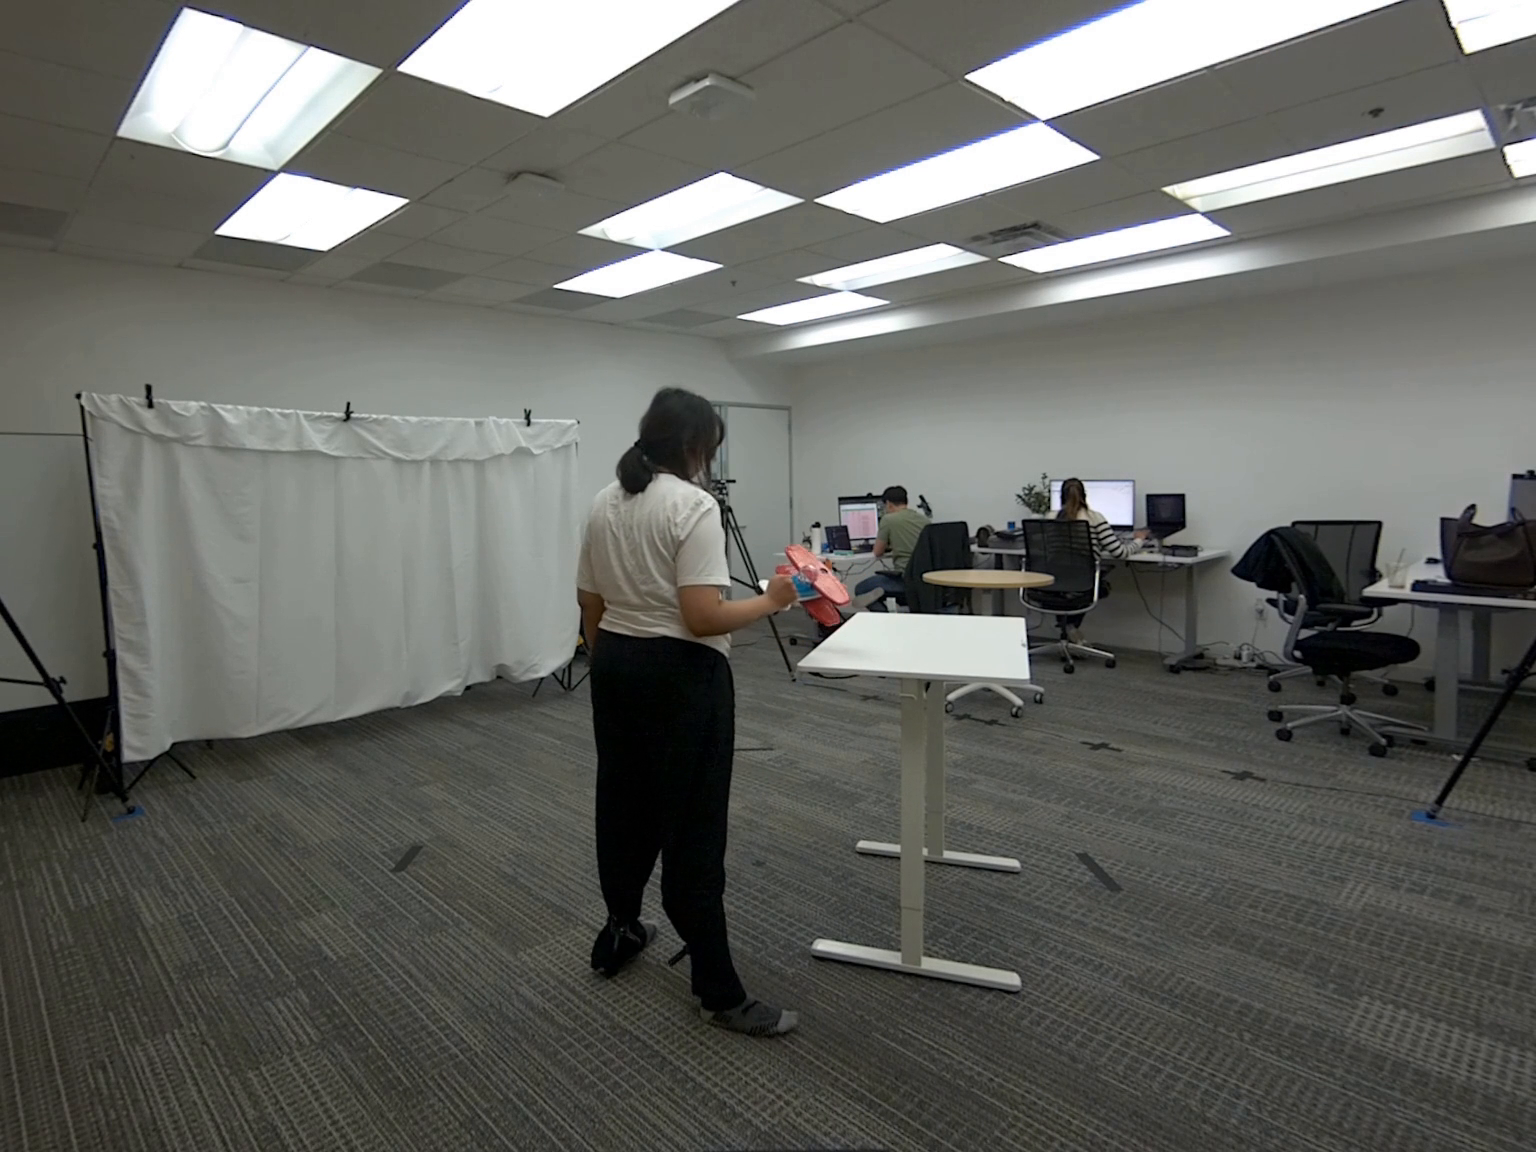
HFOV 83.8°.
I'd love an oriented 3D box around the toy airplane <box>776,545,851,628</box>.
[{"bbox_3d":[0.108,0.055,2.466,0.253,0.155,0.258,36,23,6],"label":"toy airplane"}]
